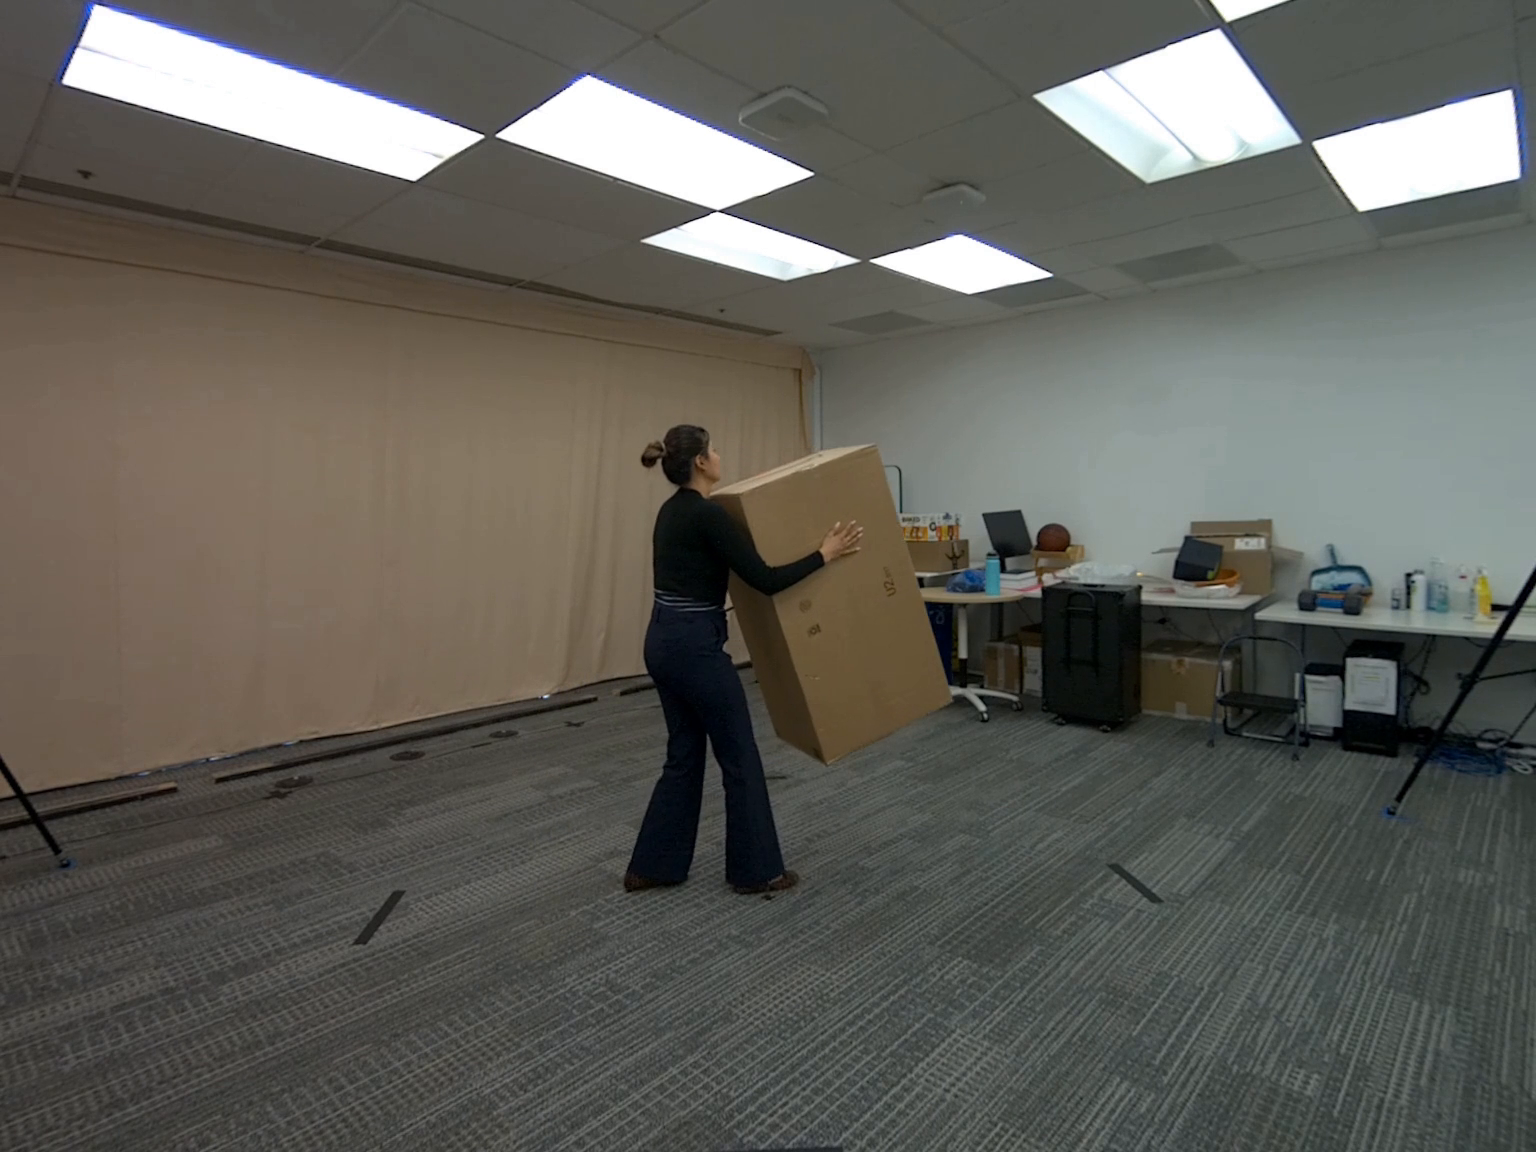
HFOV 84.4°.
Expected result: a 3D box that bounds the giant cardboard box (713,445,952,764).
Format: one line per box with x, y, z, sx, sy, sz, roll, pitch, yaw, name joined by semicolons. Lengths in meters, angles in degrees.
0.214;0.088;3.200;0.569;1.017;0.436;-21;10;-21;giant cardboard box
